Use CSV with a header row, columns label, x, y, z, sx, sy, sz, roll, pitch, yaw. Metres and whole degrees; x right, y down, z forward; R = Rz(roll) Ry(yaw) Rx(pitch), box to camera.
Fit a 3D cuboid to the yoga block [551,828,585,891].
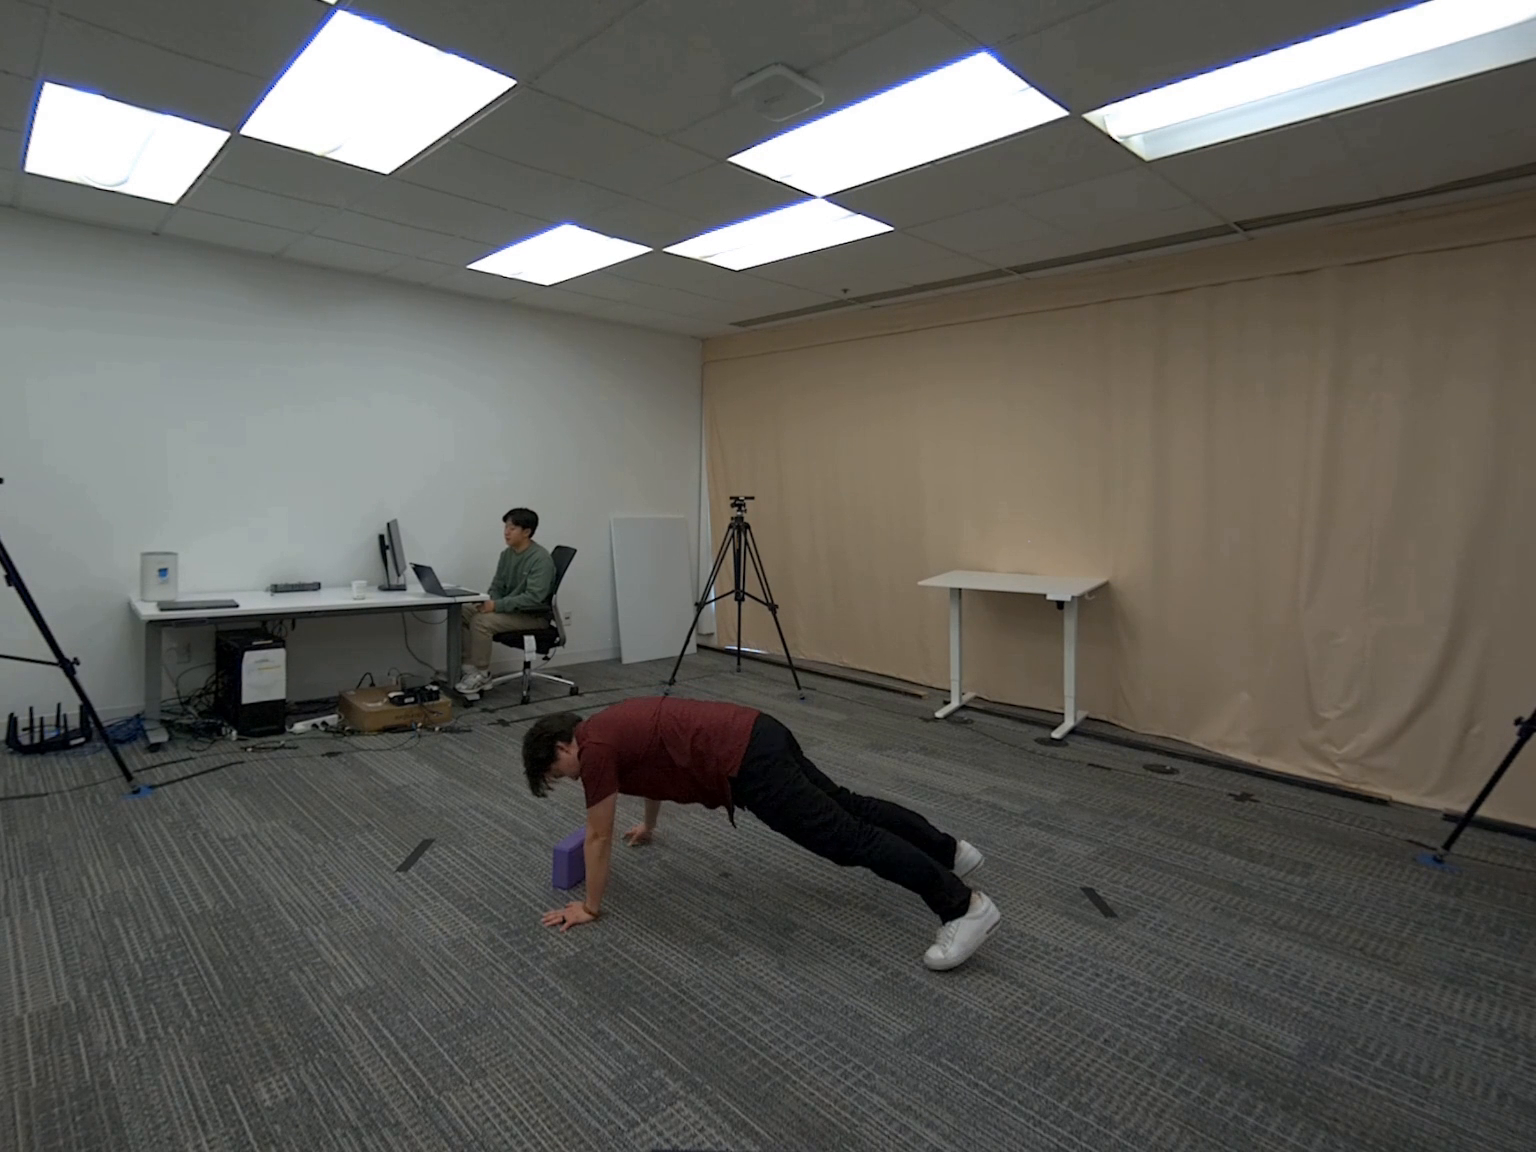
label,x,y,z,sx,sy,sz,roll,pitch,yaw
yoga block,-0.693,1.013,3.065,0.078,0.148,0.226,1,5,20
